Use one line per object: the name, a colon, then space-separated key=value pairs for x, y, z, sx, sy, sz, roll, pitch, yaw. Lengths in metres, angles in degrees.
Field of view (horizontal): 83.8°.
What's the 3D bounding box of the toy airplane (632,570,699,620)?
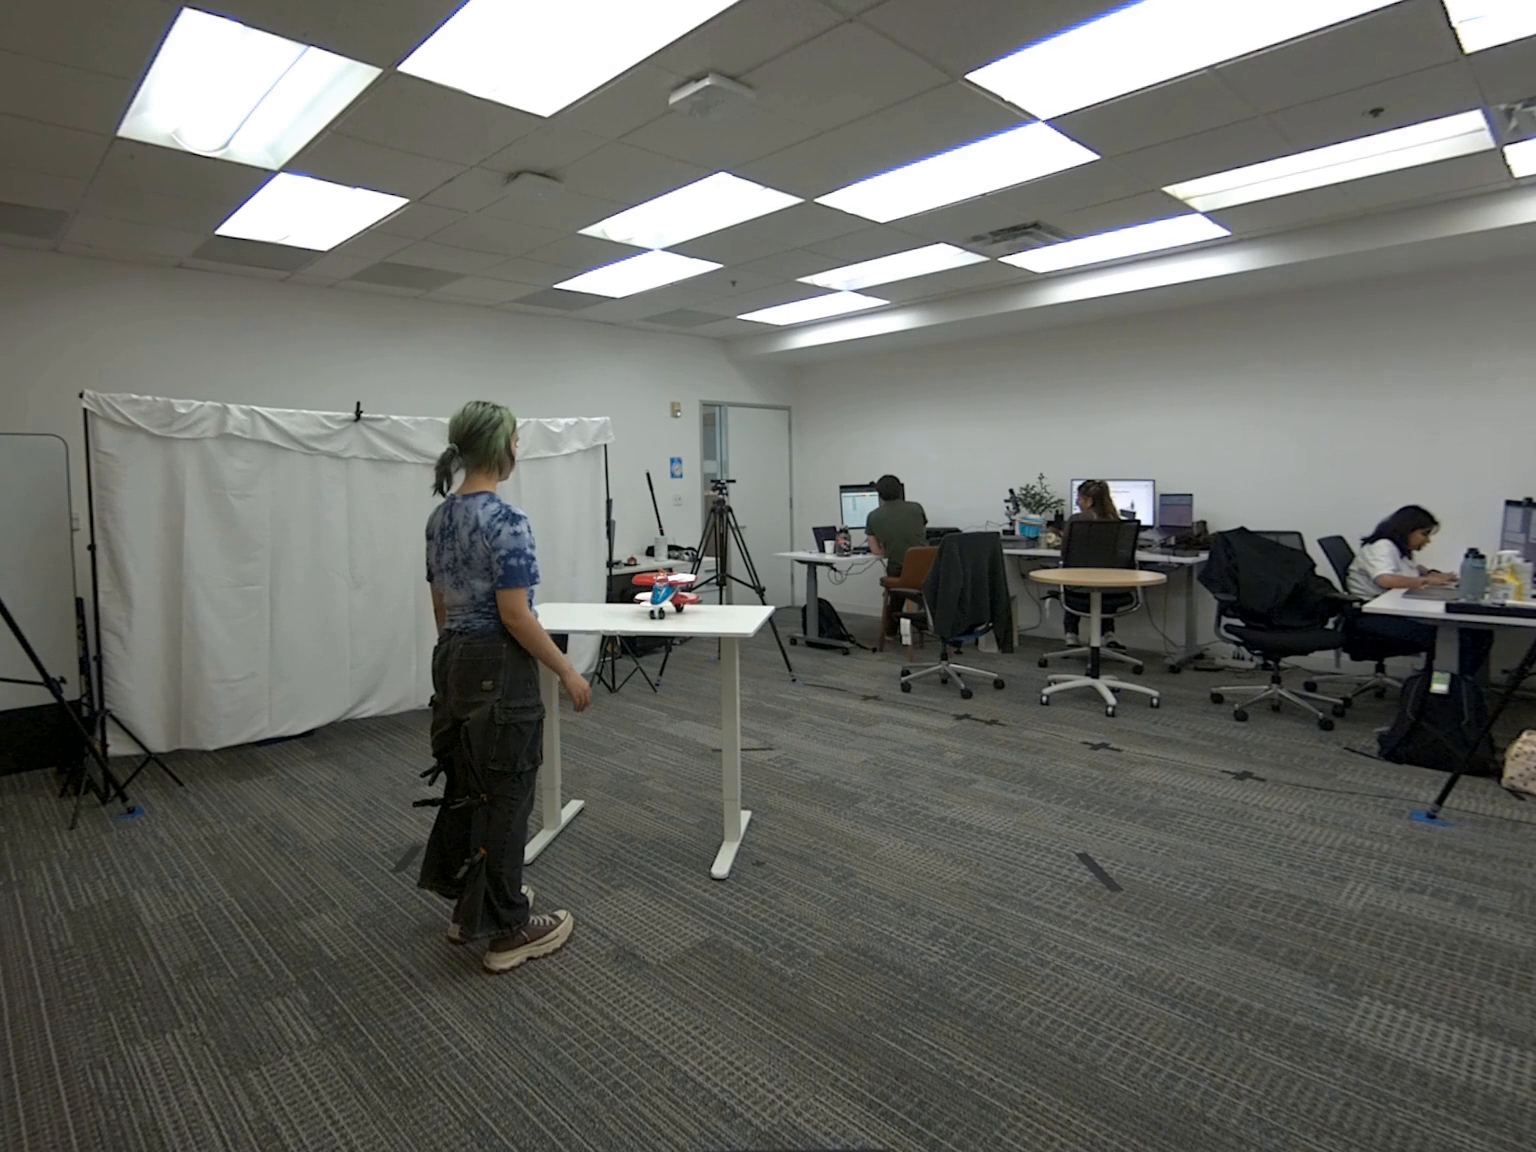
toy airplane: x=-0.384 y=0.075 z=3.291 sx=0.247 sy=0.156 sz=0.265 roll=-3 pitch=5 yaw=-20
